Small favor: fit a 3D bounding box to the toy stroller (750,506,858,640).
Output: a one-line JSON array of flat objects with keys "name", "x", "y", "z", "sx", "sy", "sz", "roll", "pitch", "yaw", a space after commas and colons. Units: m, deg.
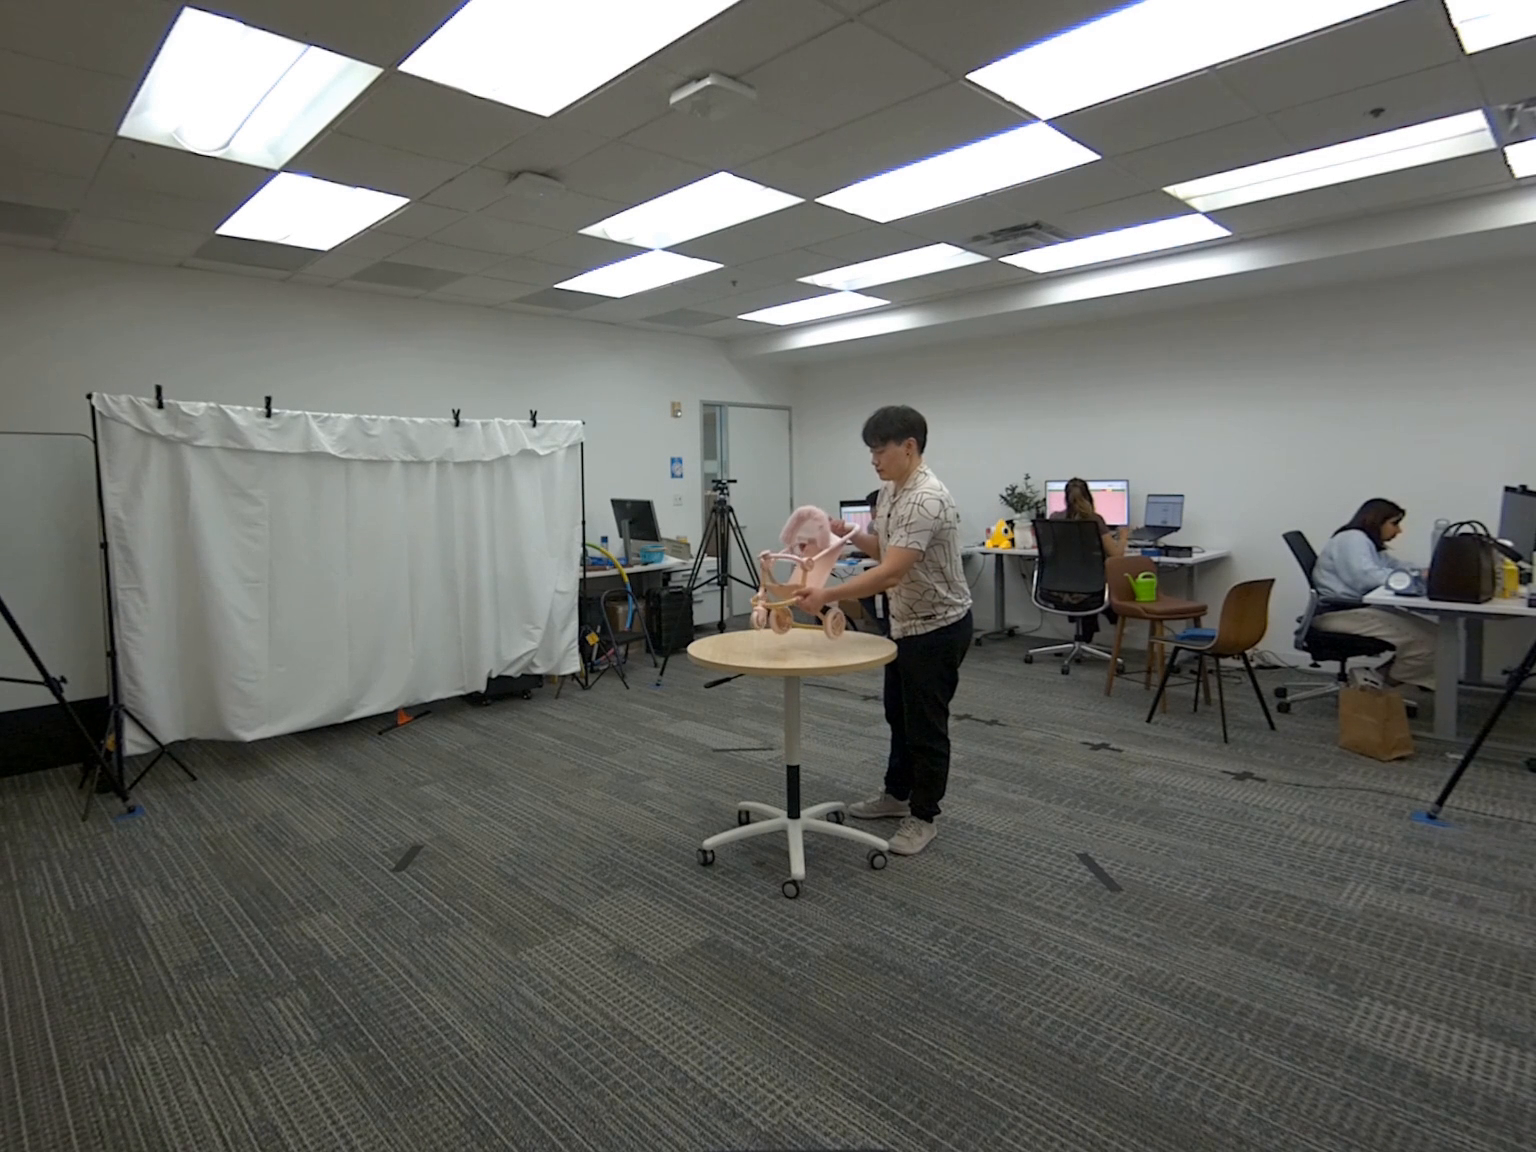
[{"name": "toy stroller", "x": 0.114, "y": -0.017, "z": 3.040, "sx": 0.329, "sy": 0.540, "sz": 0.289, "roll": 30, "pitch": -20, "yaw": -38}]
